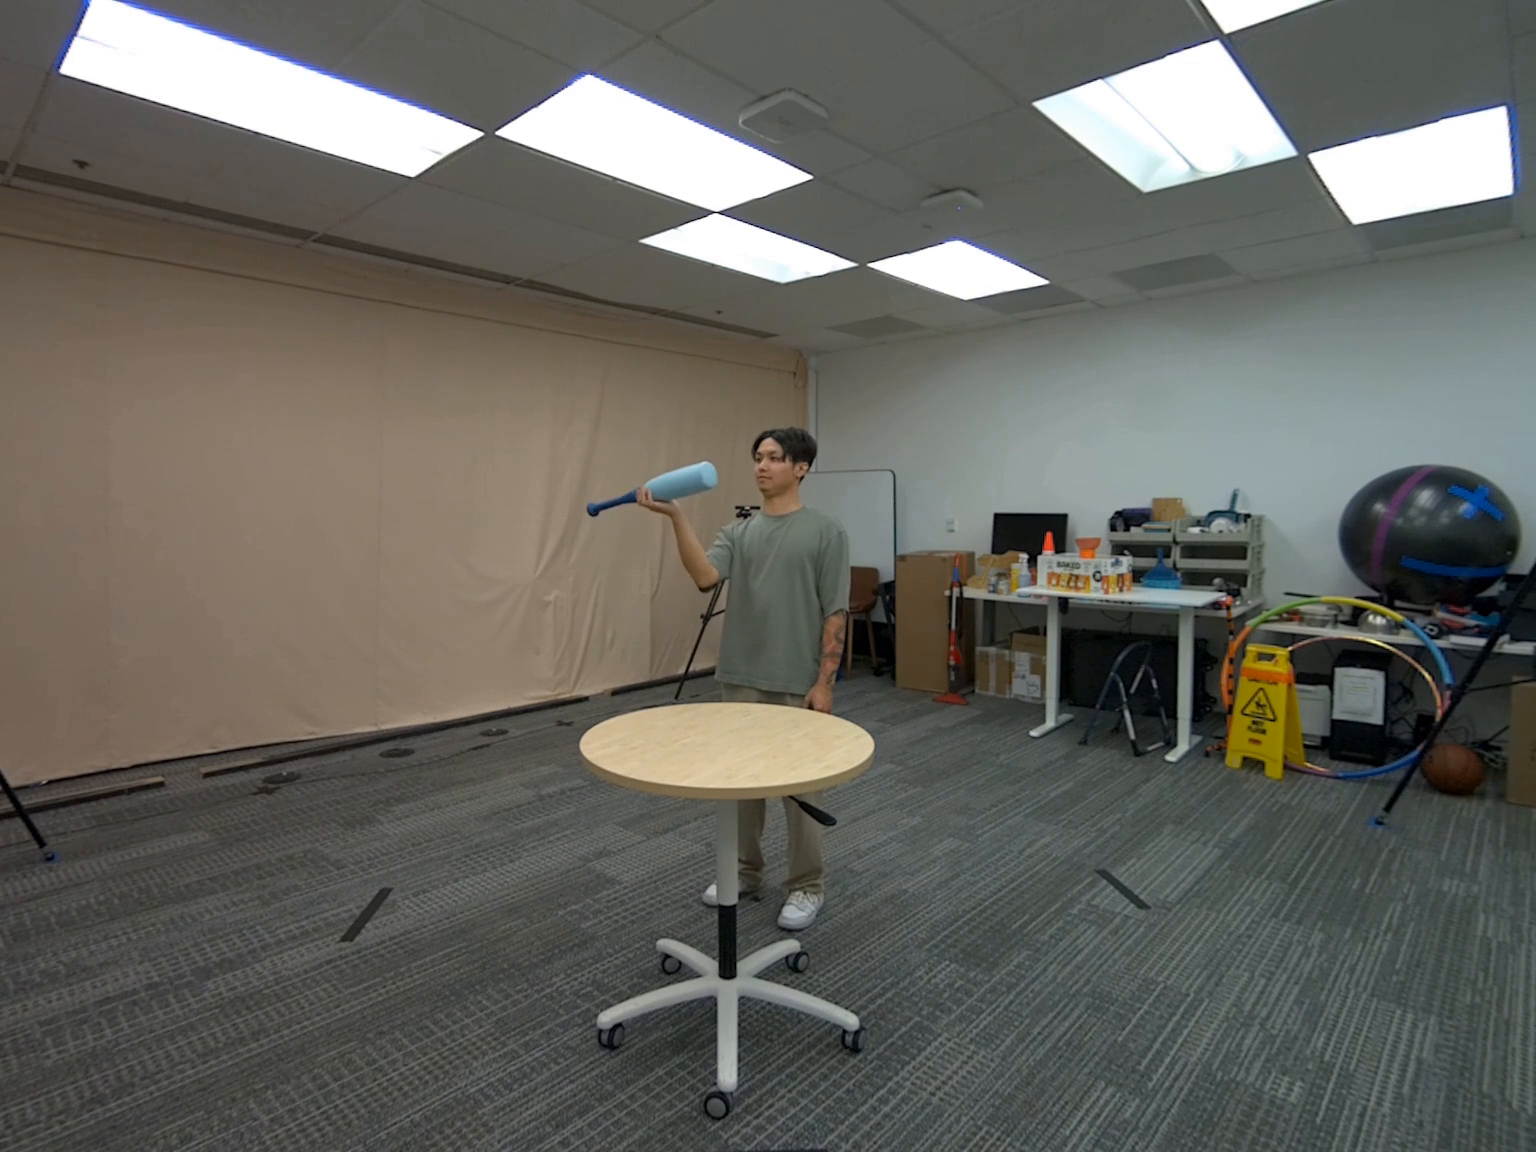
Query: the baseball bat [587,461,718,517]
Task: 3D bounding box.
[{"bbox_3d":[-0.385,-0.266,2.717,0.557,0.089,0.086,-11,-4,38],"label":"baseball bat"}]
